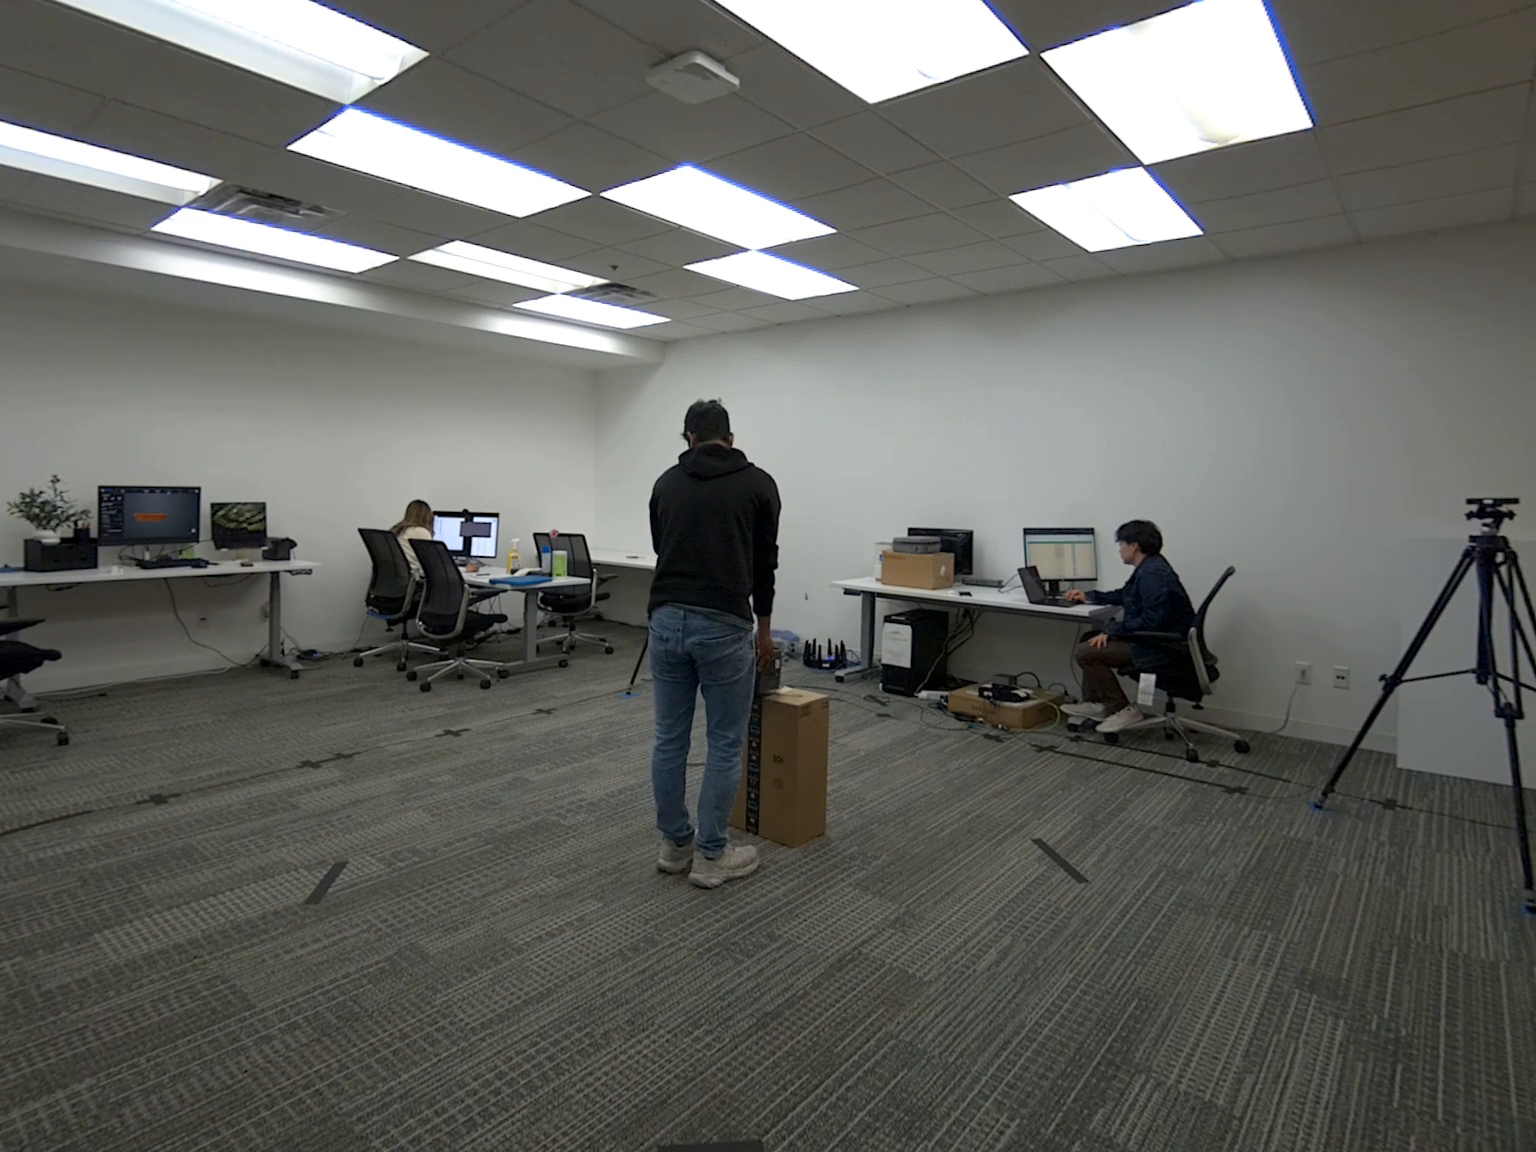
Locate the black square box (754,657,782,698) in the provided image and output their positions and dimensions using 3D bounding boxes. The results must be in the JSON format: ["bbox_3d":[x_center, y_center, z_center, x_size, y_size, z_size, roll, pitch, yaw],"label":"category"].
[{"bbox_3d":[-0.113,0.367,3.441,0.233,0.156,0.211,3,-3,23],"label":"black square box"}]
